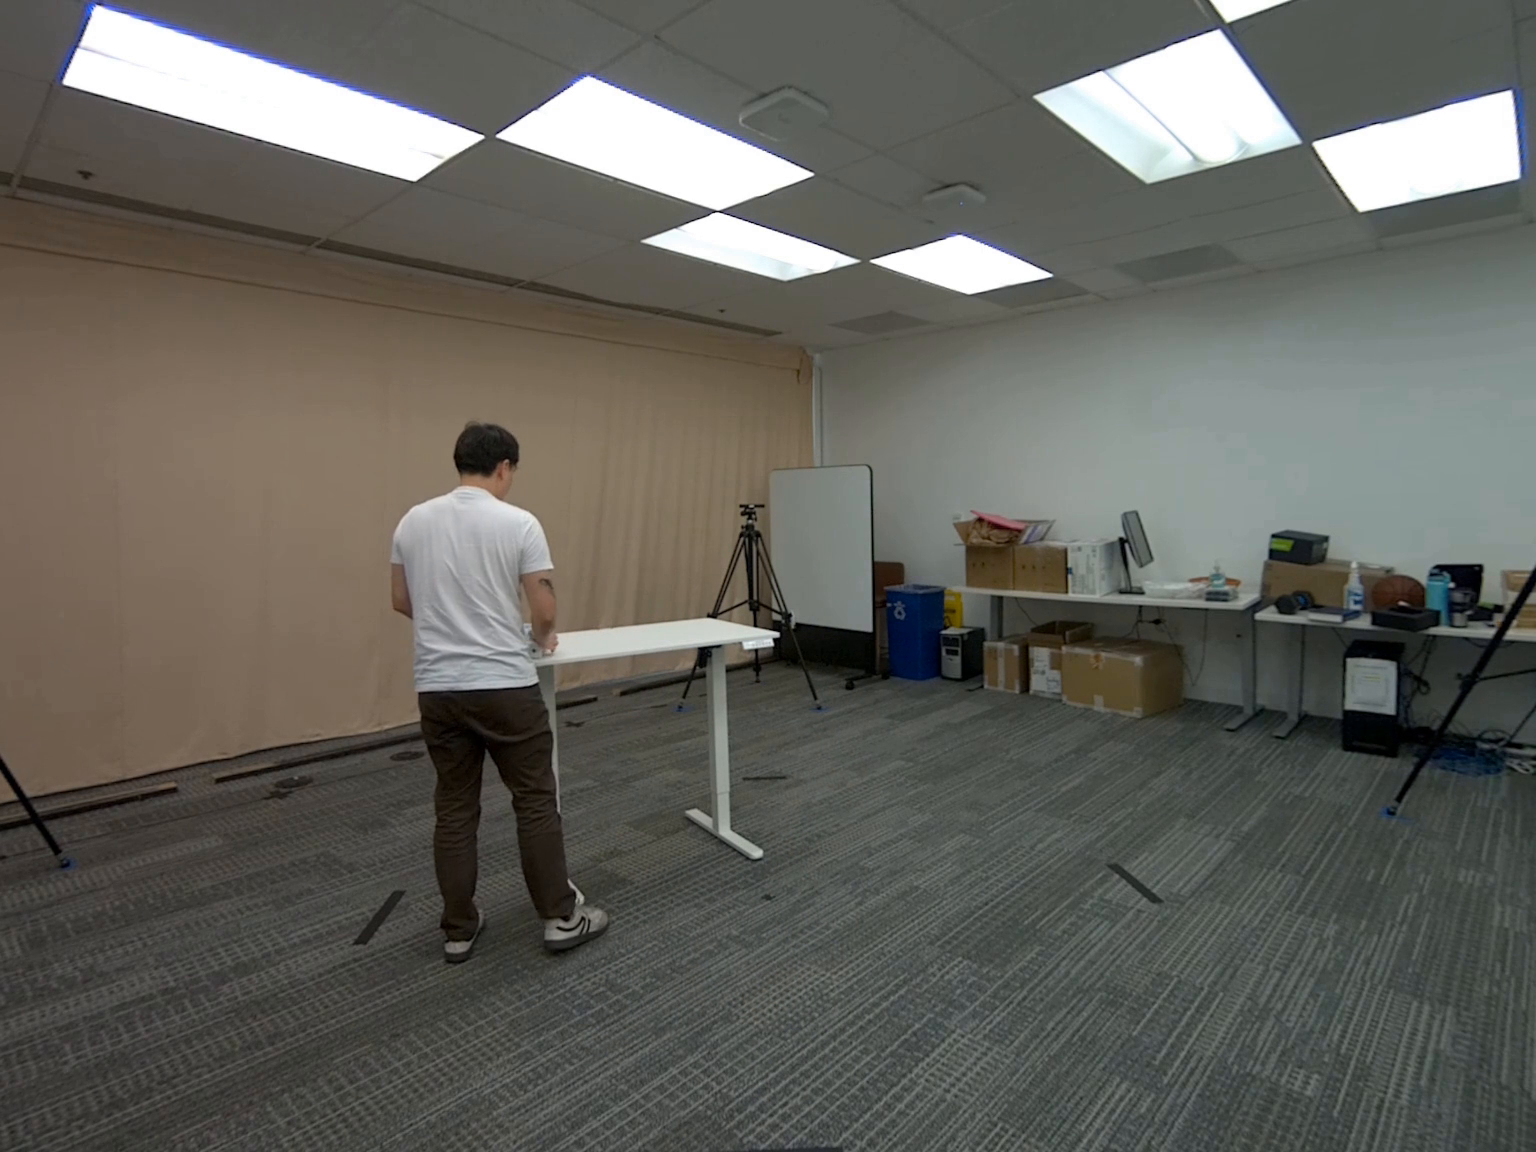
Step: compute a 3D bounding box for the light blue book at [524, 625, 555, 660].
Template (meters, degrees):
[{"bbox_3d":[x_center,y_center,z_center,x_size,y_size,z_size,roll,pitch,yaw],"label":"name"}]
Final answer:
[{"bbox_3d":[-0.922,0.206,2.978,0.261,0.058,0.192,5,15,1],"label":"light blue book"}]
